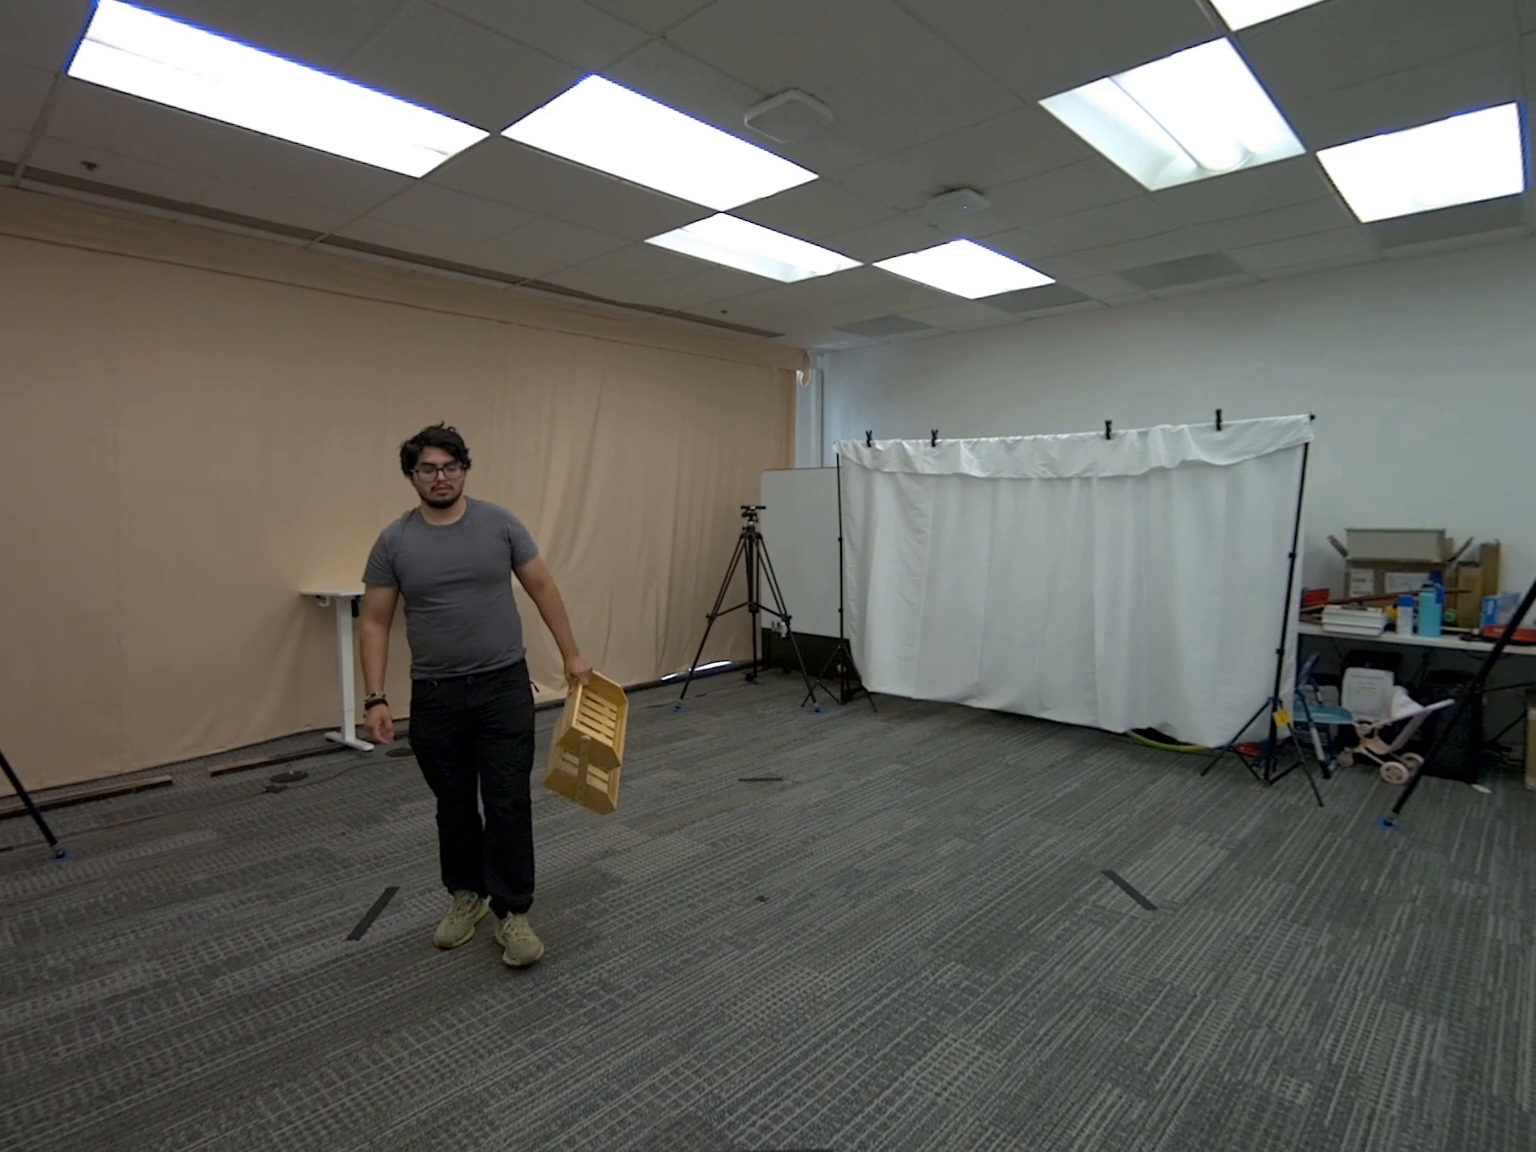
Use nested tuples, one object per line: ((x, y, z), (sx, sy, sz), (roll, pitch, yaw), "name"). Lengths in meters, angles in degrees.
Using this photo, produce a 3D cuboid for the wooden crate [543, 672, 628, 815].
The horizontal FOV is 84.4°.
((-0.554, 0.537, 2.739), (0.295, 0.274, 0.330), (32, 23, -19), "wooden crate")
